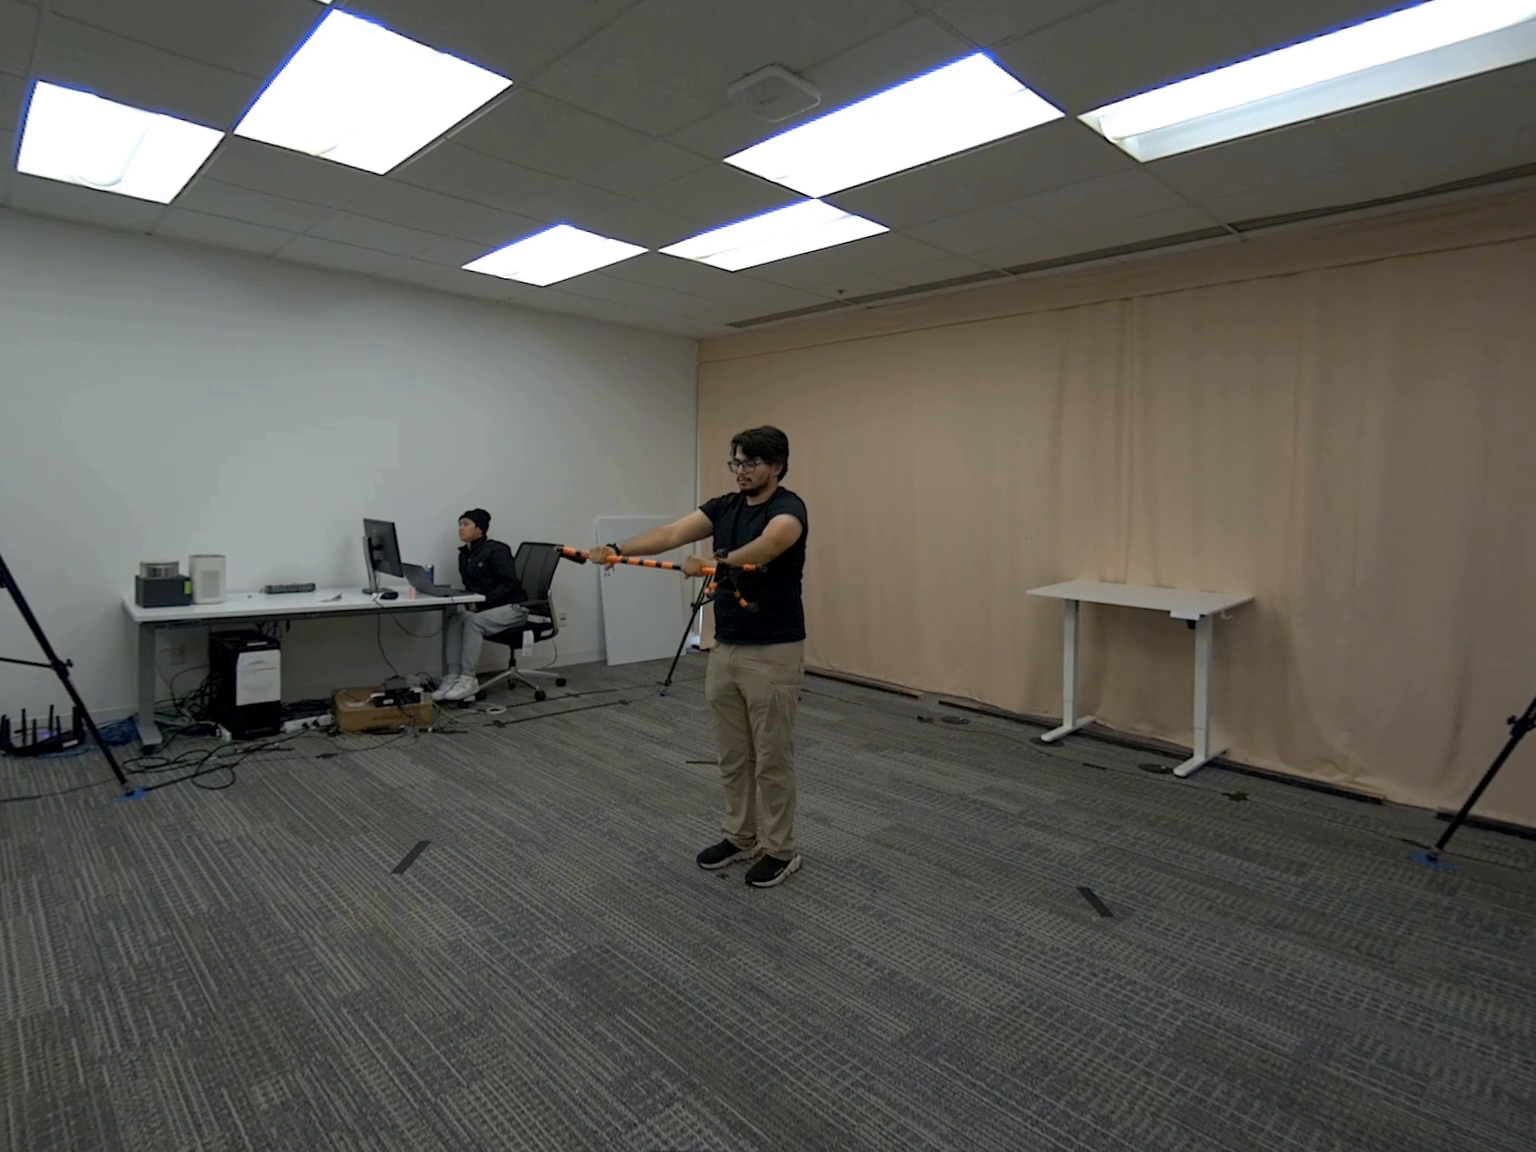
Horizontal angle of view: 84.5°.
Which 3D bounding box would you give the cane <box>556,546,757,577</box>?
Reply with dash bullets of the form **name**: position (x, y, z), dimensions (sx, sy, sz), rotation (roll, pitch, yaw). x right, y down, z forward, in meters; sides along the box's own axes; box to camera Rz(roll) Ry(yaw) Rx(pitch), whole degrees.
- **cane**: position (-0.432, -0.030, 2.770), dimensions (0.932, 0.152, 0.200), rotation (9, -9, 43)
